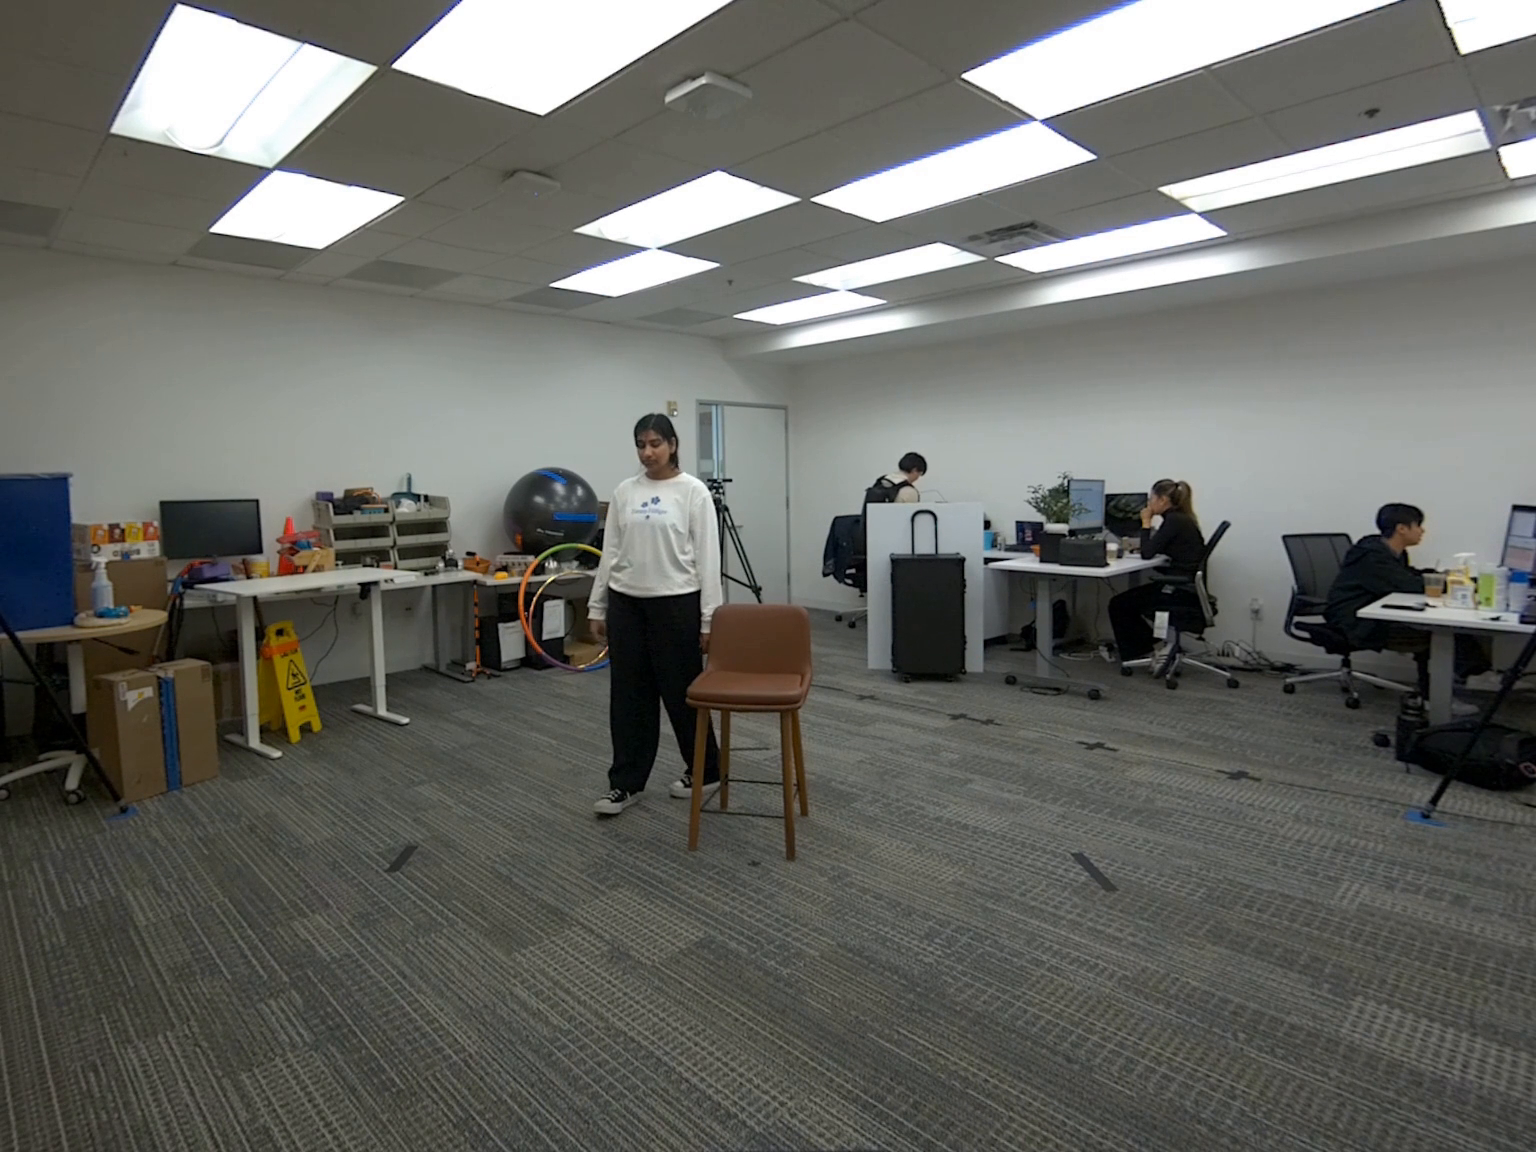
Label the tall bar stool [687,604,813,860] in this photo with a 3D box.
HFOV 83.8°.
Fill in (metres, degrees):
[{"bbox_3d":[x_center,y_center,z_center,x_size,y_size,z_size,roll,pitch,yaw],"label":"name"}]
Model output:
[{"bbox_3d":[-0.063,0.581,3.370,0.463,0.888,0.462,0,2,14],"label":"tall bar stool"}]
